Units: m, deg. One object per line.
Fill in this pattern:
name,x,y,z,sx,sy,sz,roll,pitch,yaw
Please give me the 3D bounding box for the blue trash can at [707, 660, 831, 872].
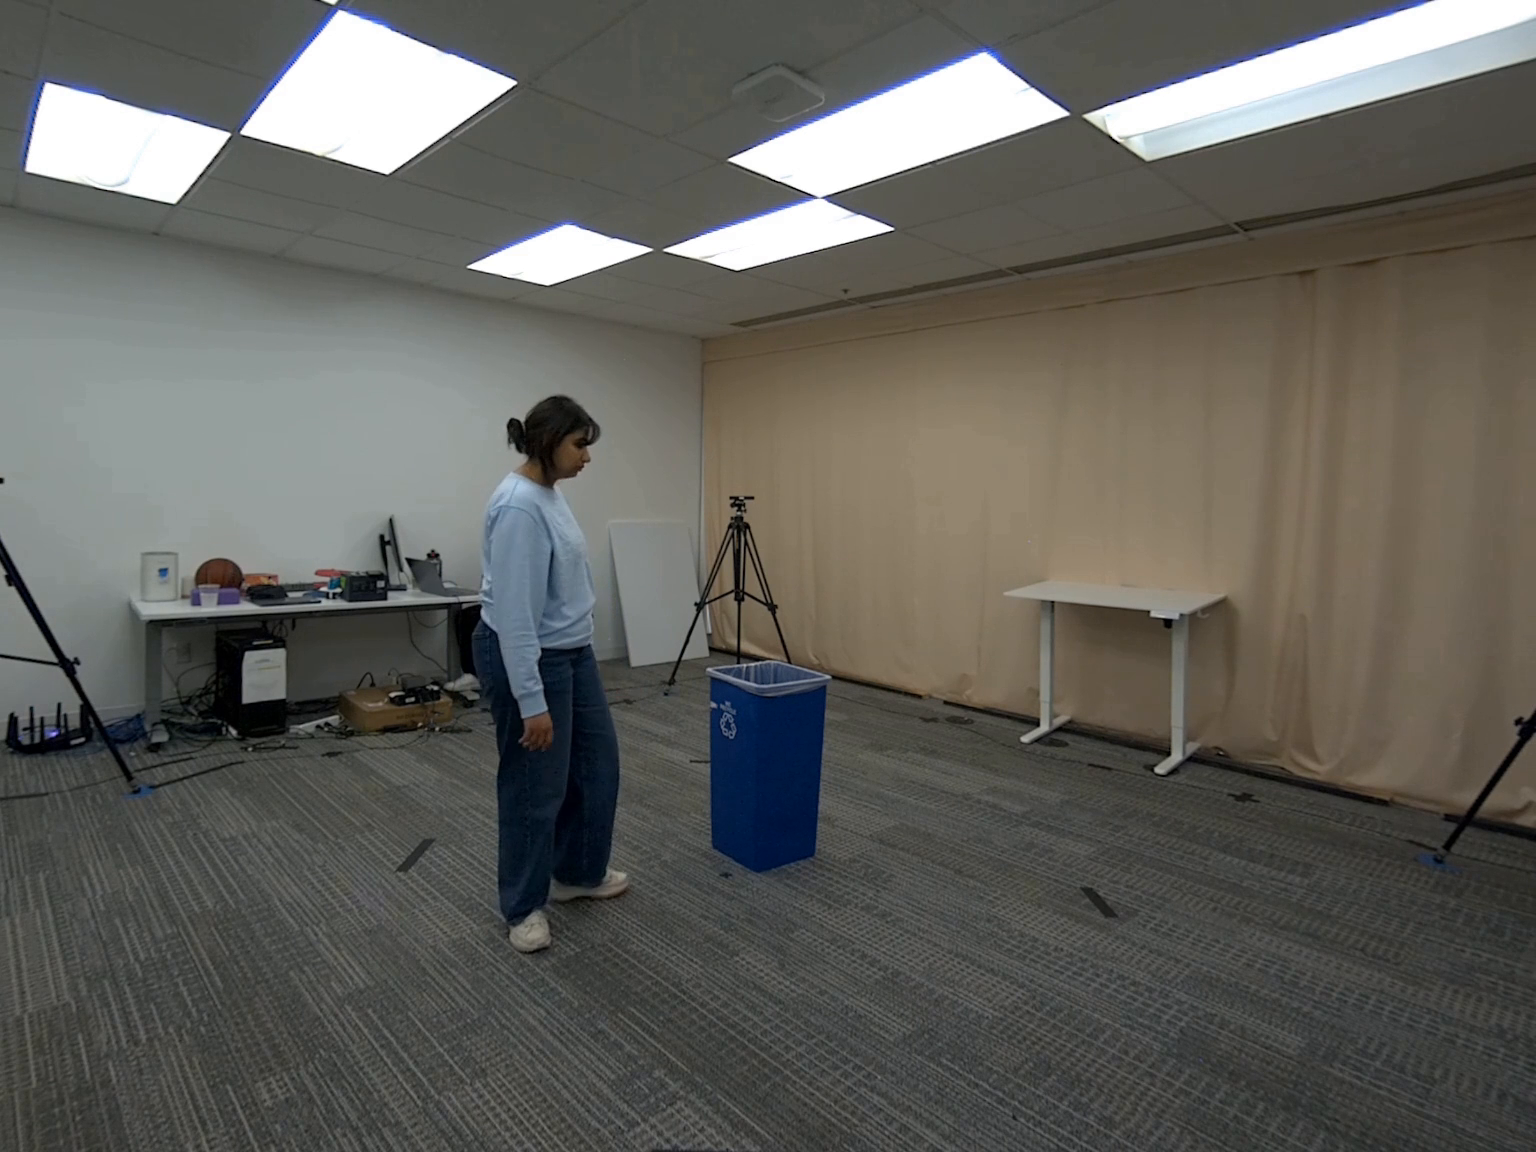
blue trash can,-0.012,0.731,3.307,0.370,0.712,0.383,-2,4,-37
